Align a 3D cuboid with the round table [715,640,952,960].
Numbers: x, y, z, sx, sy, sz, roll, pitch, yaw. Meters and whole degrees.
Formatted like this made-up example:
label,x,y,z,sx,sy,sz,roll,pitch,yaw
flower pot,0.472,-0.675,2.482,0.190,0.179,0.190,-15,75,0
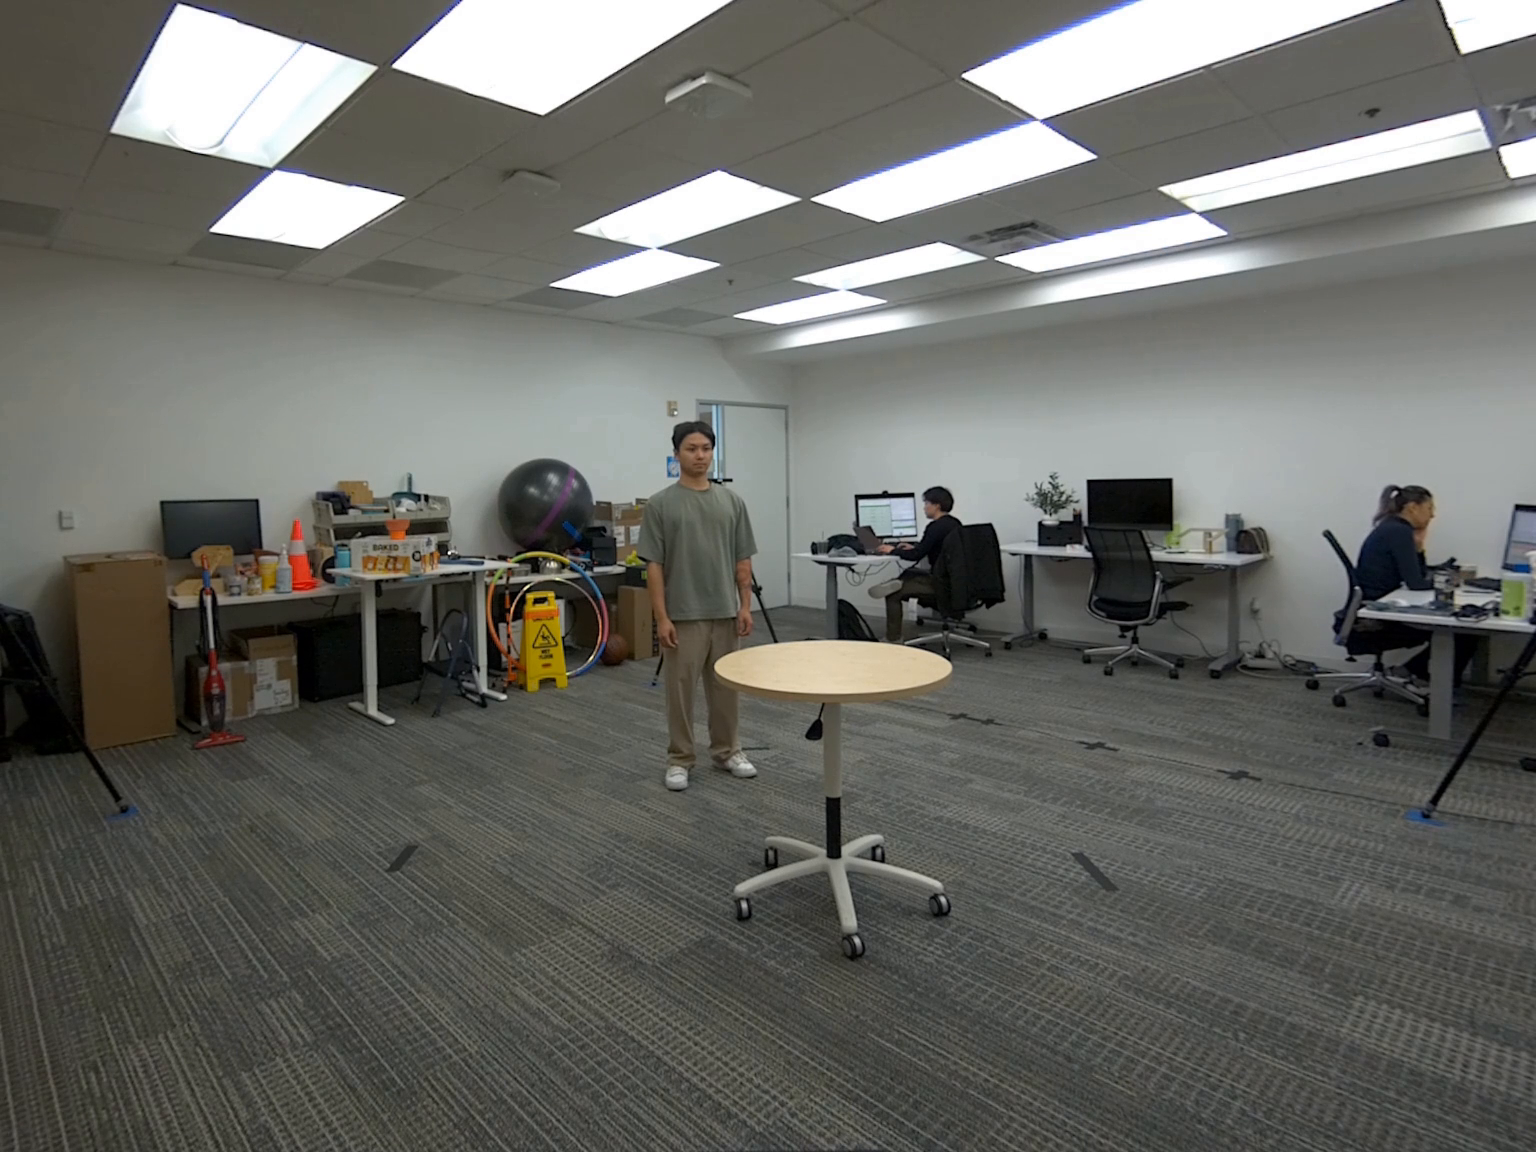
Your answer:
label,x,y,z,sx,sy,sz,roll,pitch,yaw
round table,0.233,0.676,2.826,0.784,0.783,0.789,-1,5,-2
